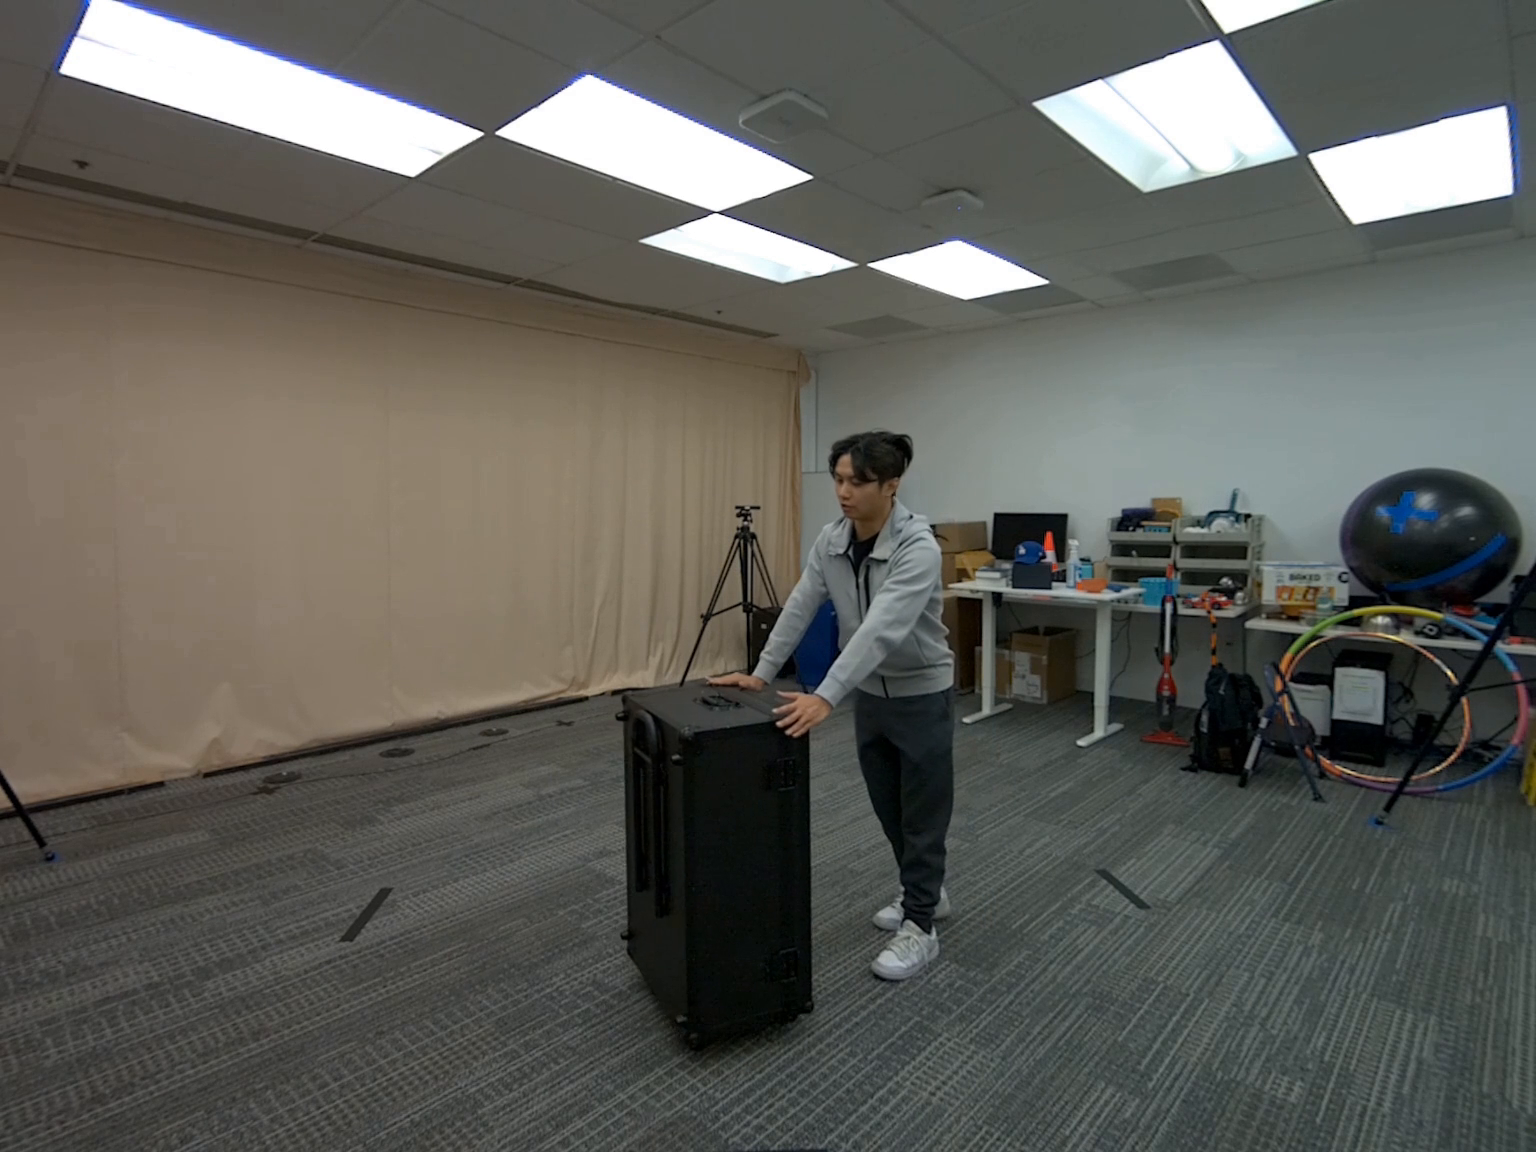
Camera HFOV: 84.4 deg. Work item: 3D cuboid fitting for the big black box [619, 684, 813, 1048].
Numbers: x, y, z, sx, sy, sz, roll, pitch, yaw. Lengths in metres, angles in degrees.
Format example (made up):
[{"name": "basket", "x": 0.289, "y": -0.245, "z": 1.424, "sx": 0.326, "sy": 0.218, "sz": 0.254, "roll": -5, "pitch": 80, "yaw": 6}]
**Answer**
[{"name": "big black box", "x": -0.155, "y": 0.778, "z": 2.314, "sx": 0.387, "sy": 0.859, "sz": 0.535, "roll": -3, "pitch": 4, "yaw": -26}]
